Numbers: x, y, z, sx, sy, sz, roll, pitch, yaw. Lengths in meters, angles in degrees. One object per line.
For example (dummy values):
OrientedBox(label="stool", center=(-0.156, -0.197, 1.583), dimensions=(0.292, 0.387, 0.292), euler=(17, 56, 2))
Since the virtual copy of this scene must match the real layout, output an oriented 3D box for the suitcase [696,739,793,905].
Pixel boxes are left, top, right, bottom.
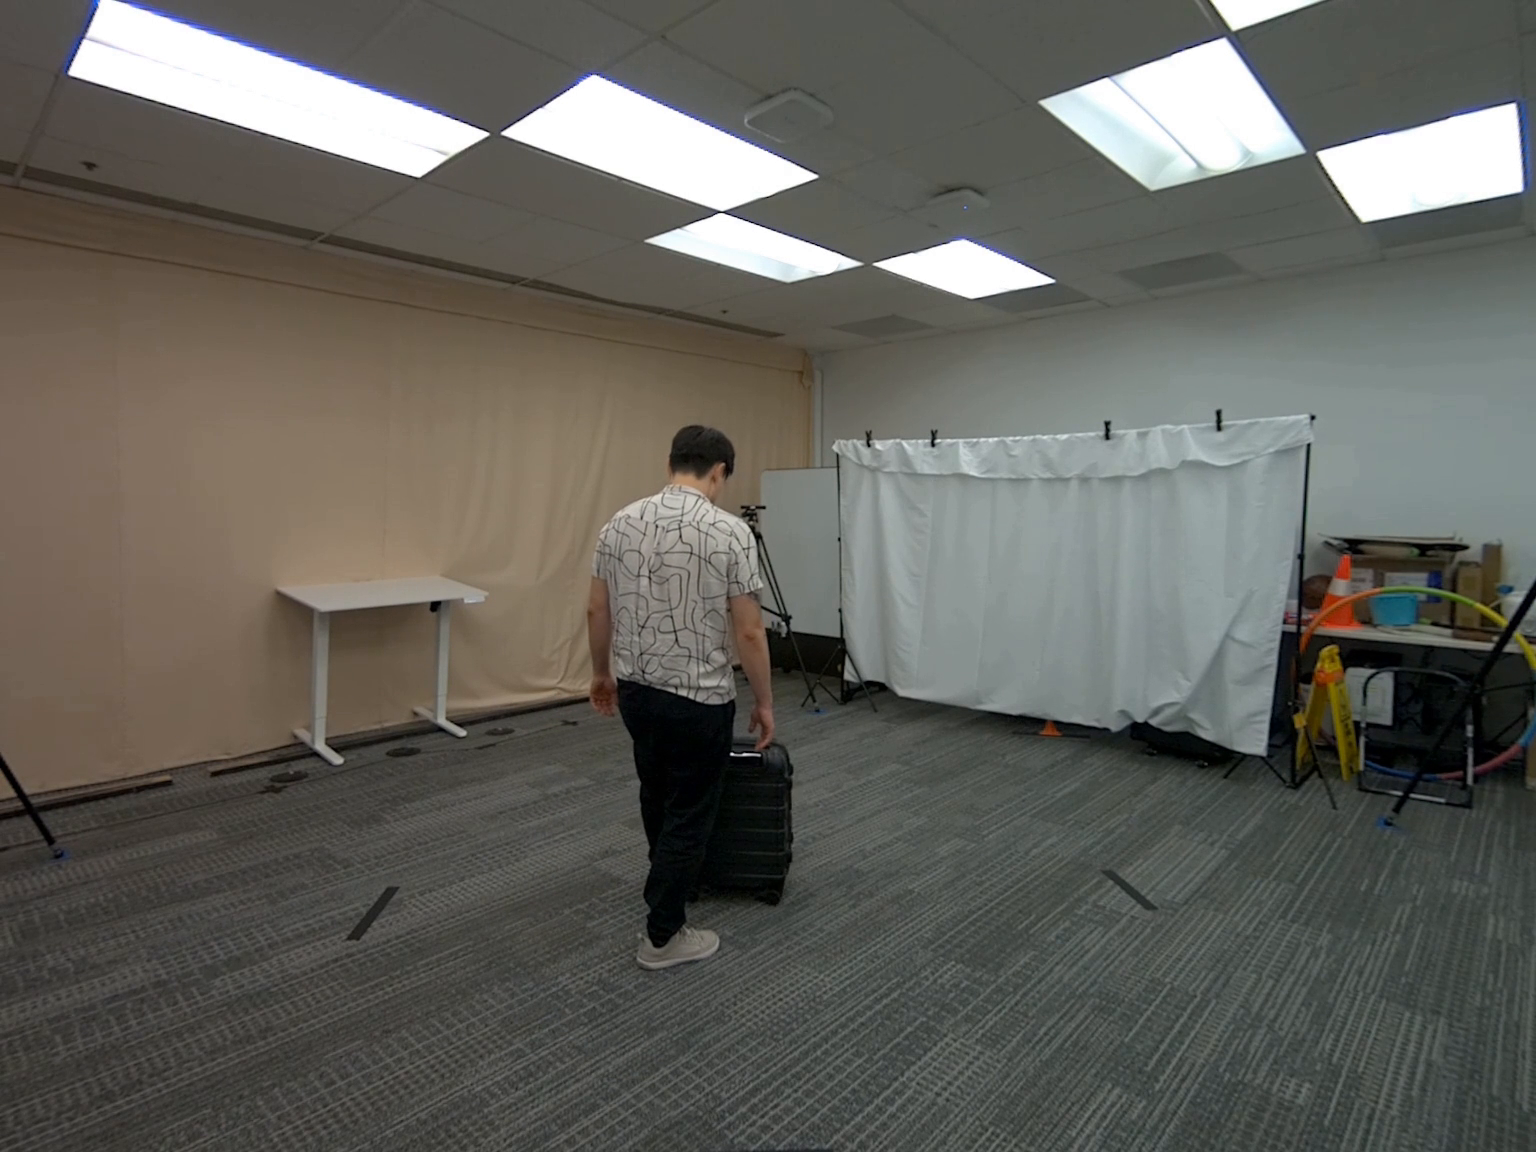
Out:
OrientedBox(label="suitcase", center=(-0.100, 0.860, 3.048), dimensions=(0.378, 0.548, 0.247), euler=(0, 2, 5))
